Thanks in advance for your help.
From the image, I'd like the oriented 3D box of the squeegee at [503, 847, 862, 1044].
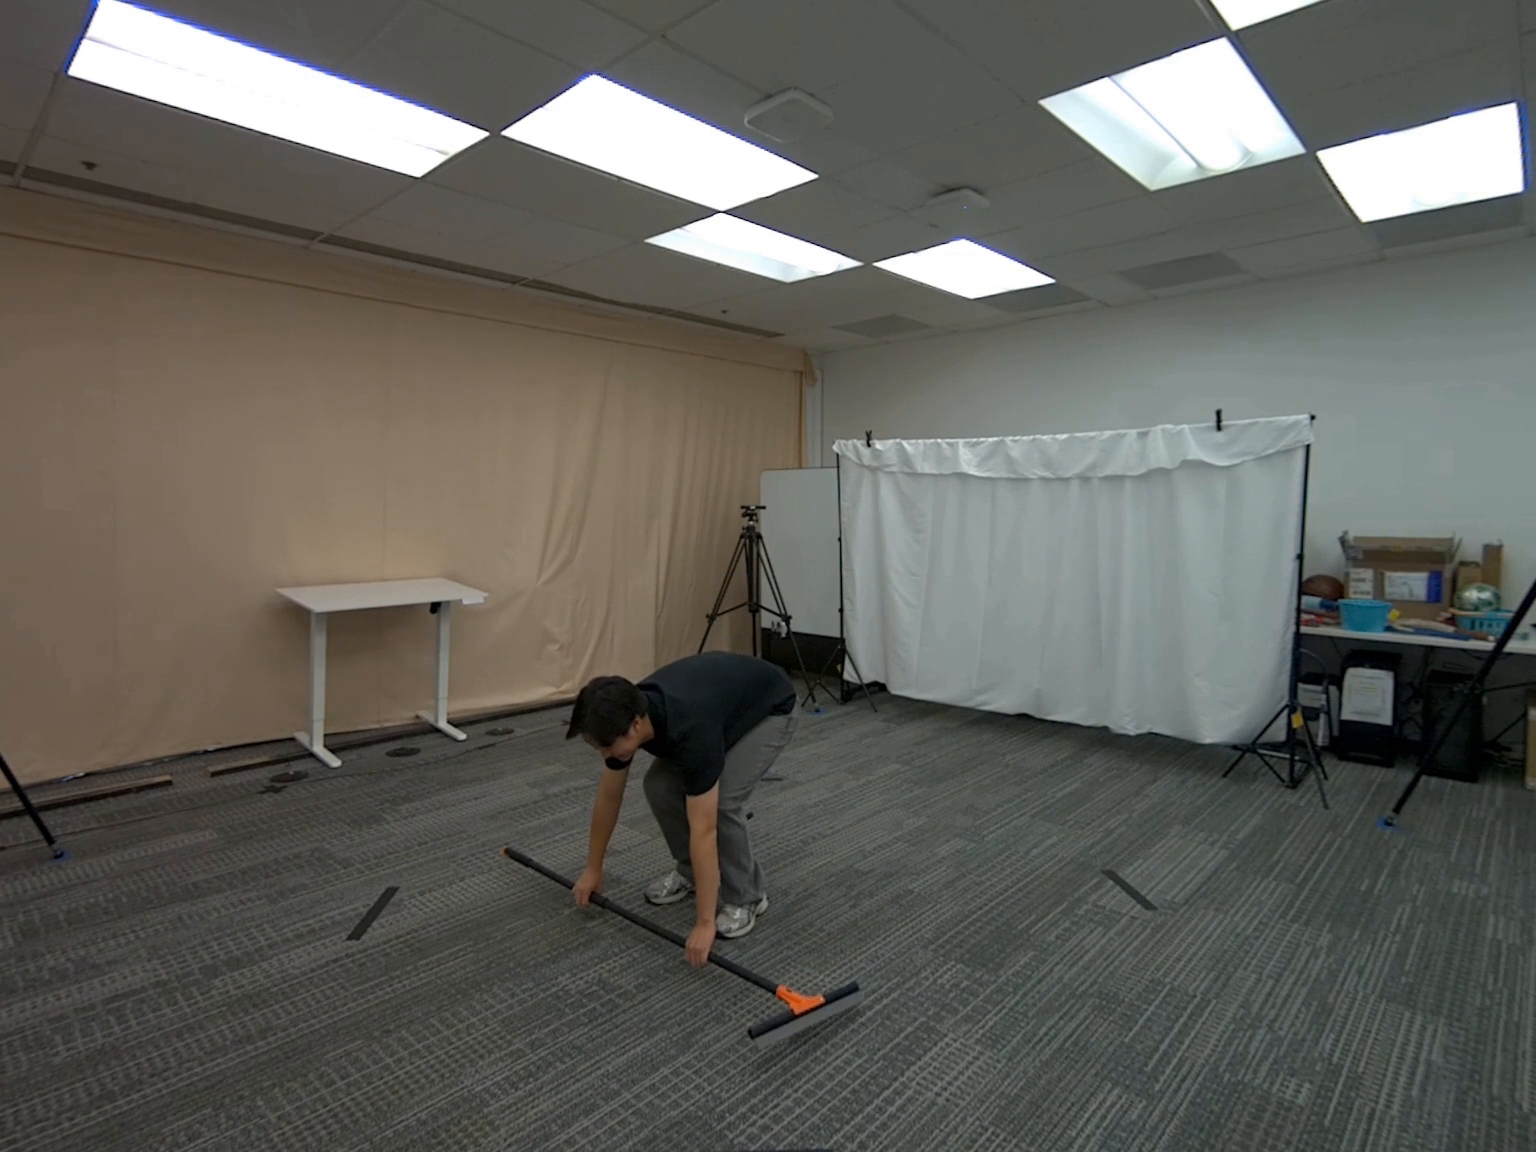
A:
[{"bbox_3d":[-0.440,1.092,2.716,1.589,0.053,0.422,3,-3,43],"label":"squeegee"}]
